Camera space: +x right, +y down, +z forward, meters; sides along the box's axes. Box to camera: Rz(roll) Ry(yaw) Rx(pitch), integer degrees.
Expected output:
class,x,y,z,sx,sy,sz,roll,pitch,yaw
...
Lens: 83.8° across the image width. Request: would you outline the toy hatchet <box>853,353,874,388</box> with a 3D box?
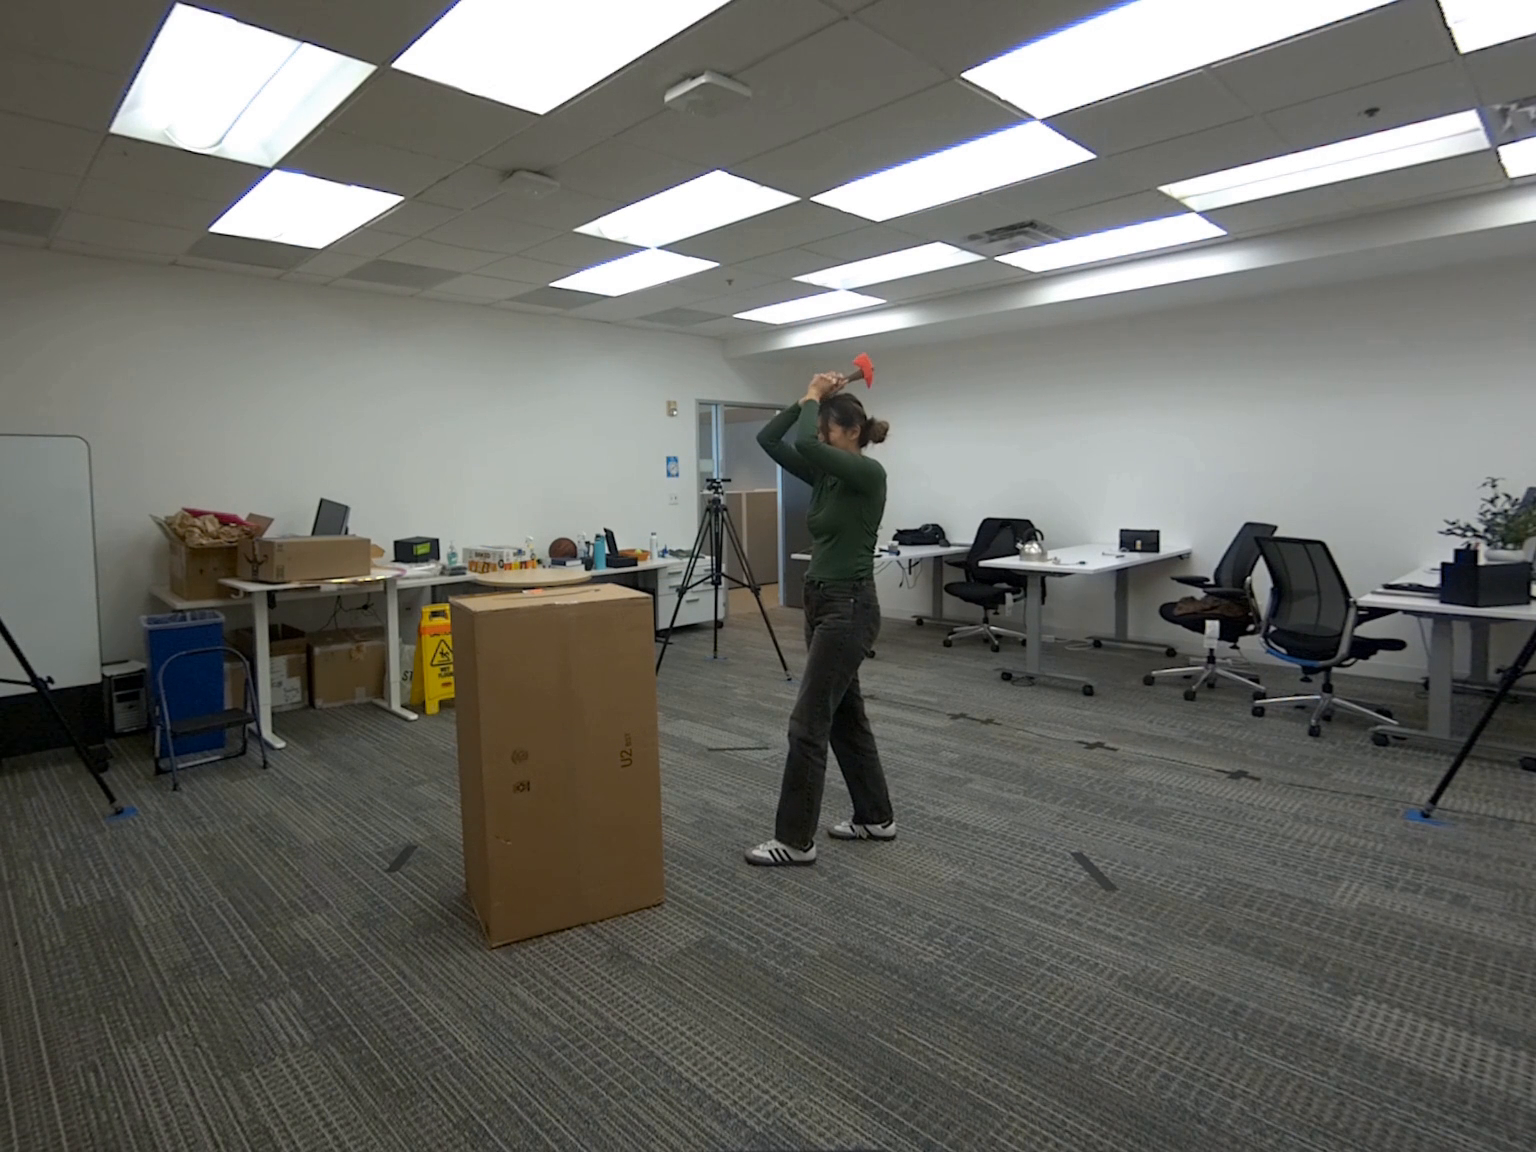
class,x,y,z,sx,sy,sz,roll,pitch,yaw
toy hatchet,0.270,-0.766,3.127,0.264,0.129,0.031,-10,24,-29
